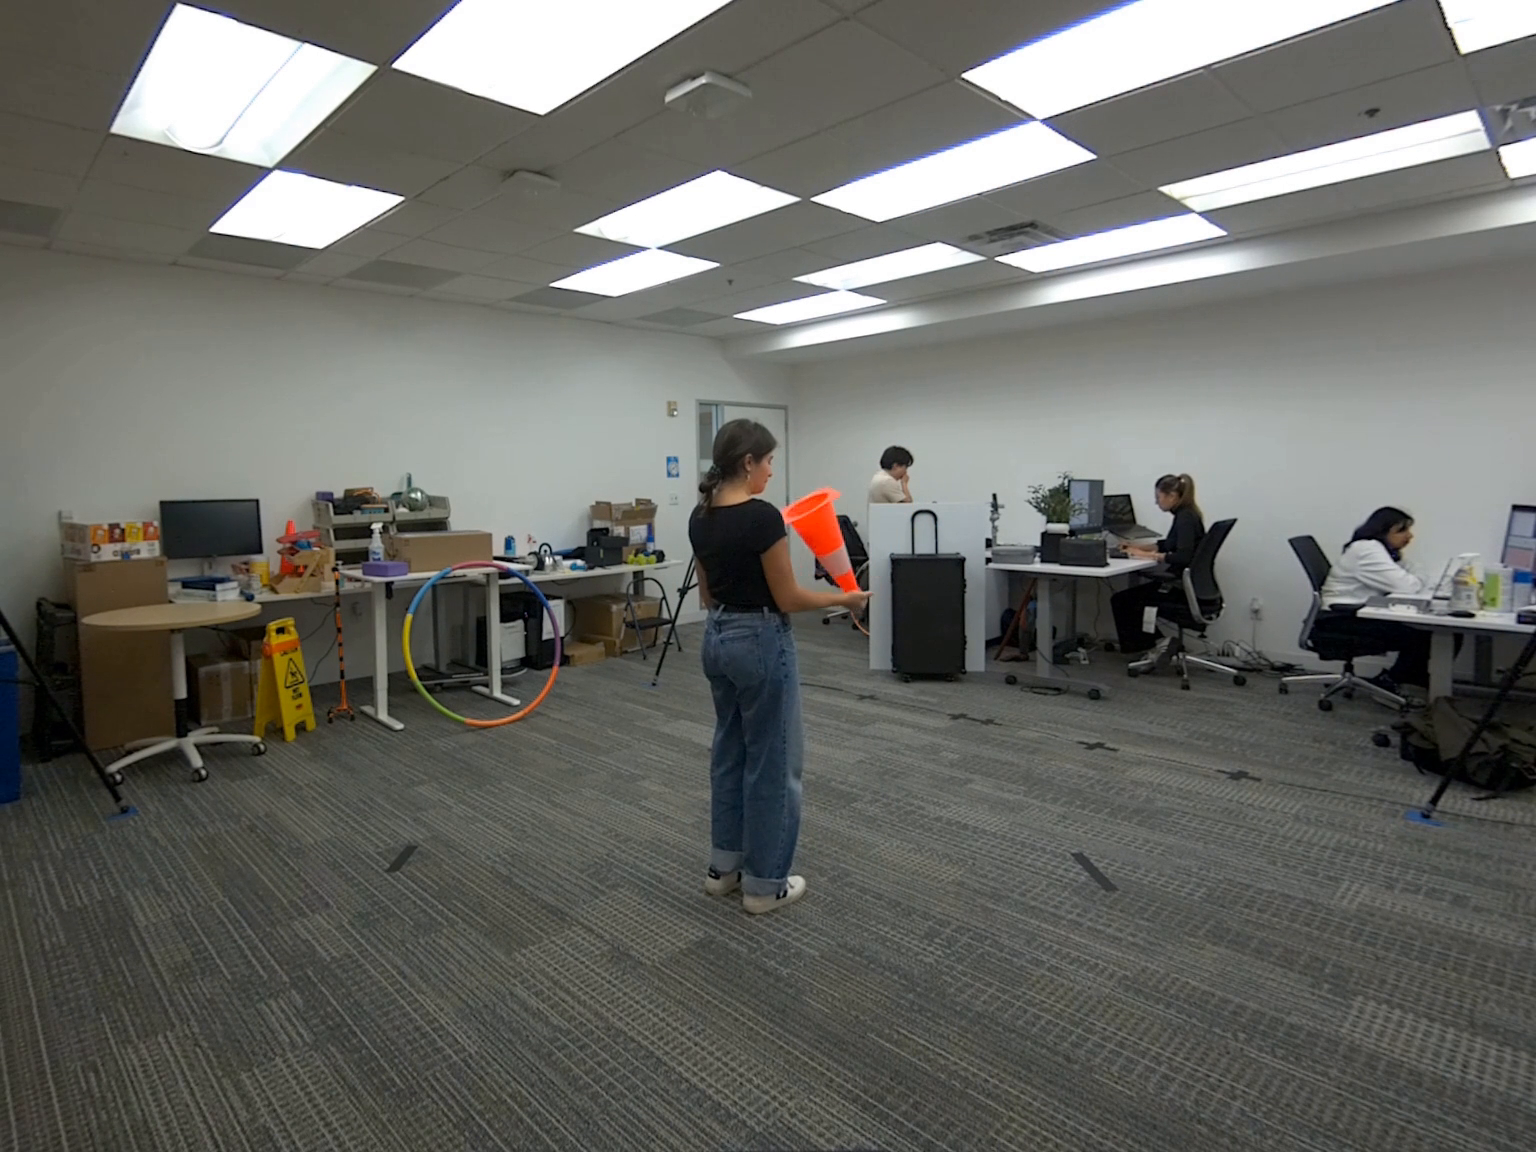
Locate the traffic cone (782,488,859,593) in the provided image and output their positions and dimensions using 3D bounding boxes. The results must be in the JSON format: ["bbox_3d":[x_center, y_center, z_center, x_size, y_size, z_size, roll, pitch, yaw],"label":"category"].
[{"bbox_3d":[0.227,-0.071,2.841,0.203,0.376,0.209,-29,16,-5],"label":"traffic cone"}]
